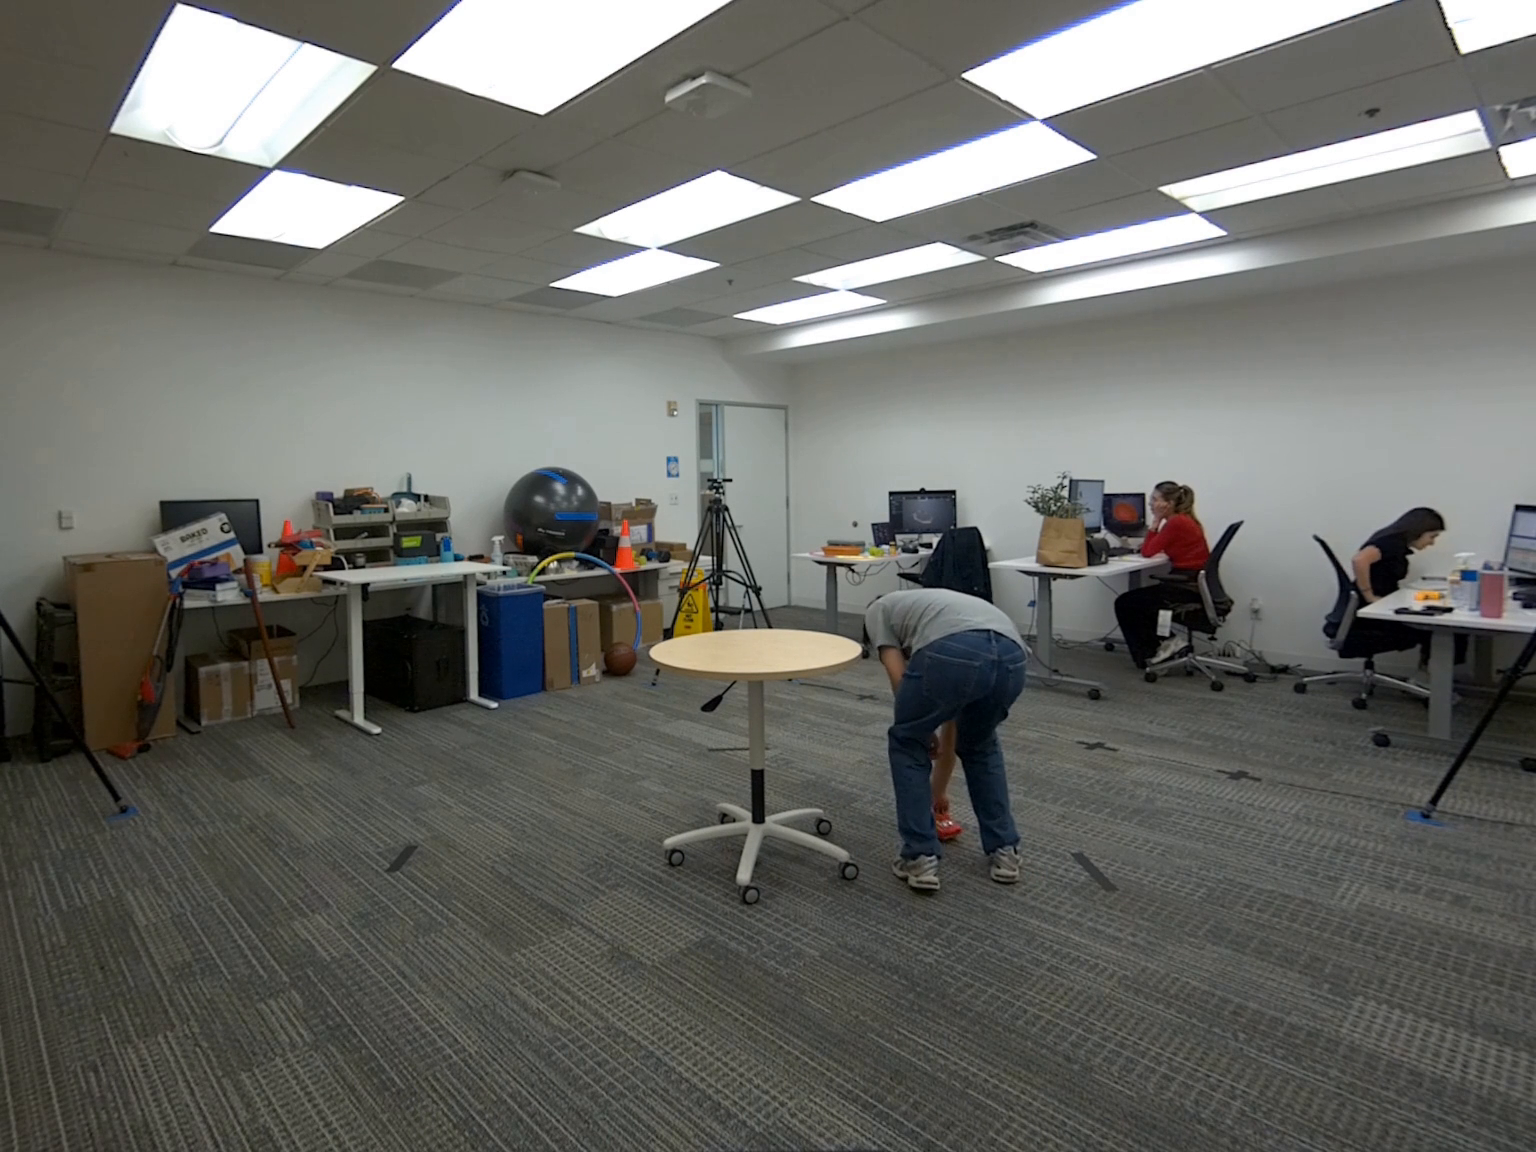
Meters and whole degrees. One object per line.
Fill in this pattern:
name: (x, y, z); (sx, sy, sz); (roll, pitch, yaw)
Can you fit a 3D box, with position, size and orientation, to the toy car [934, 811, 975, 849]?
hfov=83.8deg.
toy car: (0.662, 0.982, 3.341); (0.127, 0.084, 0.258); (-3, -5, -27)
